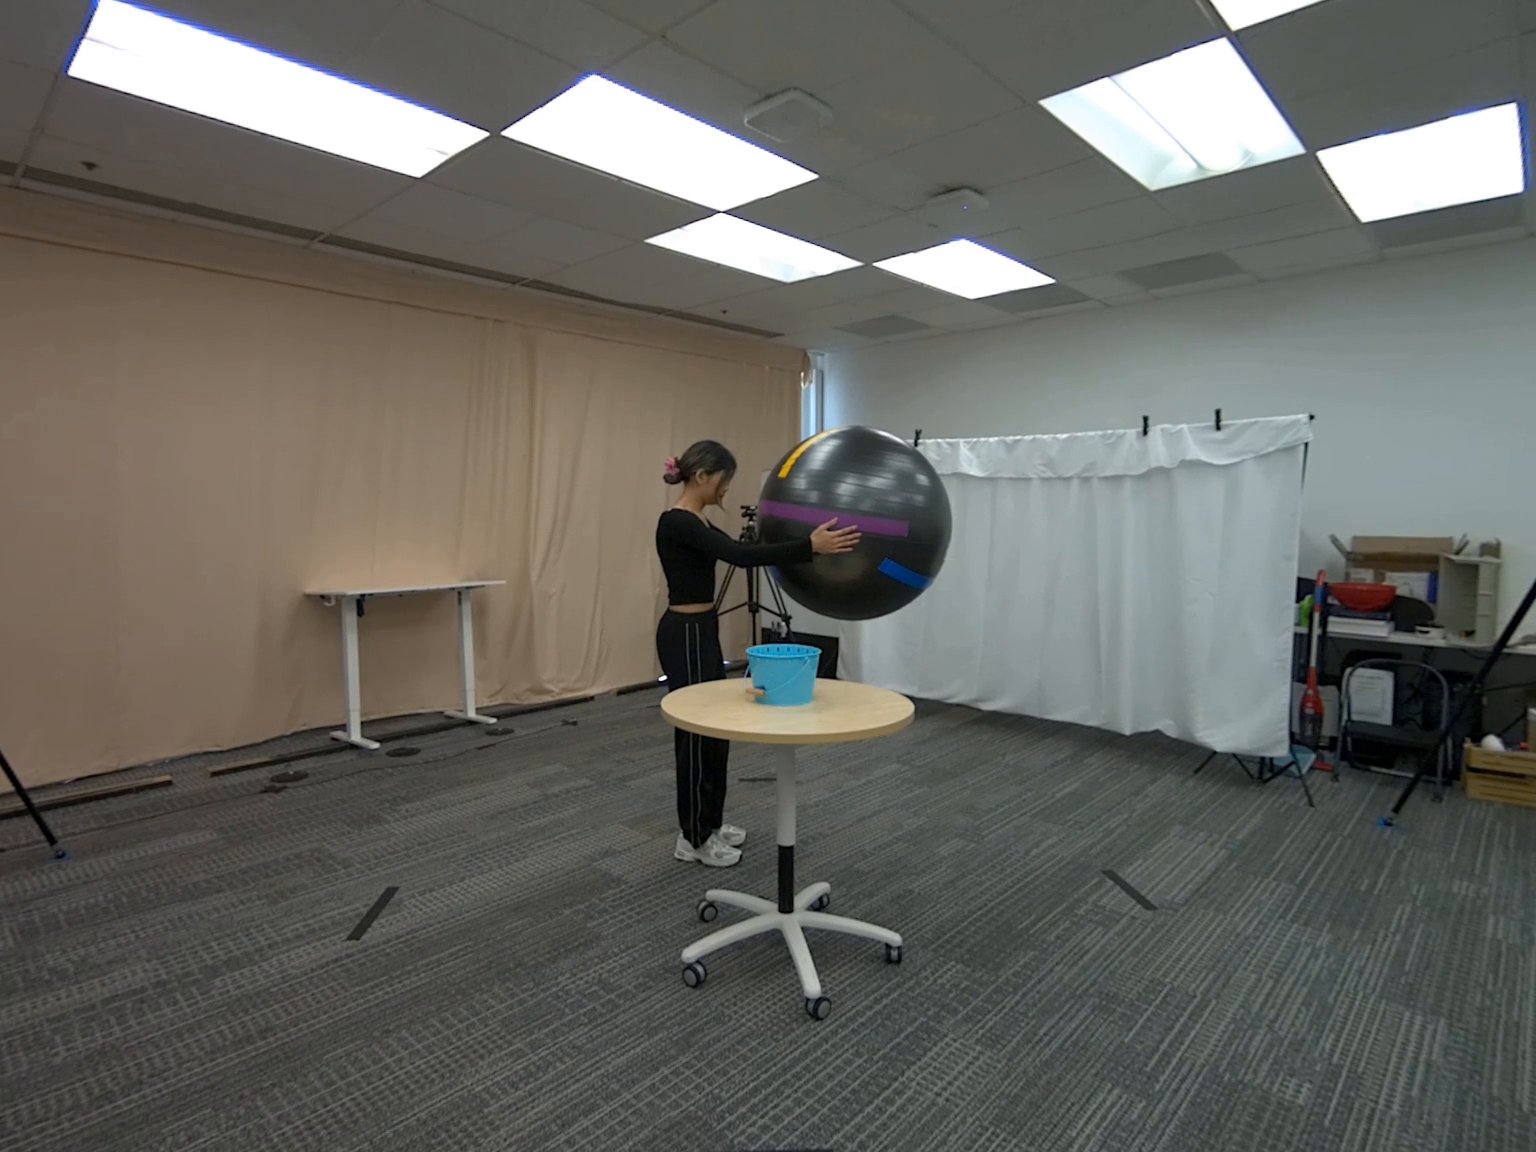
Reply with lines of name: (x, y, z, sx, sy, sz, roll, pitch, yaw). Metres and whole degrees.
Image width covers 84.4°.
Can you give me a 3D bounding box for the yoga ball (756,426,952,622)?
yoga ball: (0.348, -0.200, 3.311, 0.757, 0.756, 0.760, 0, 4, -2)
